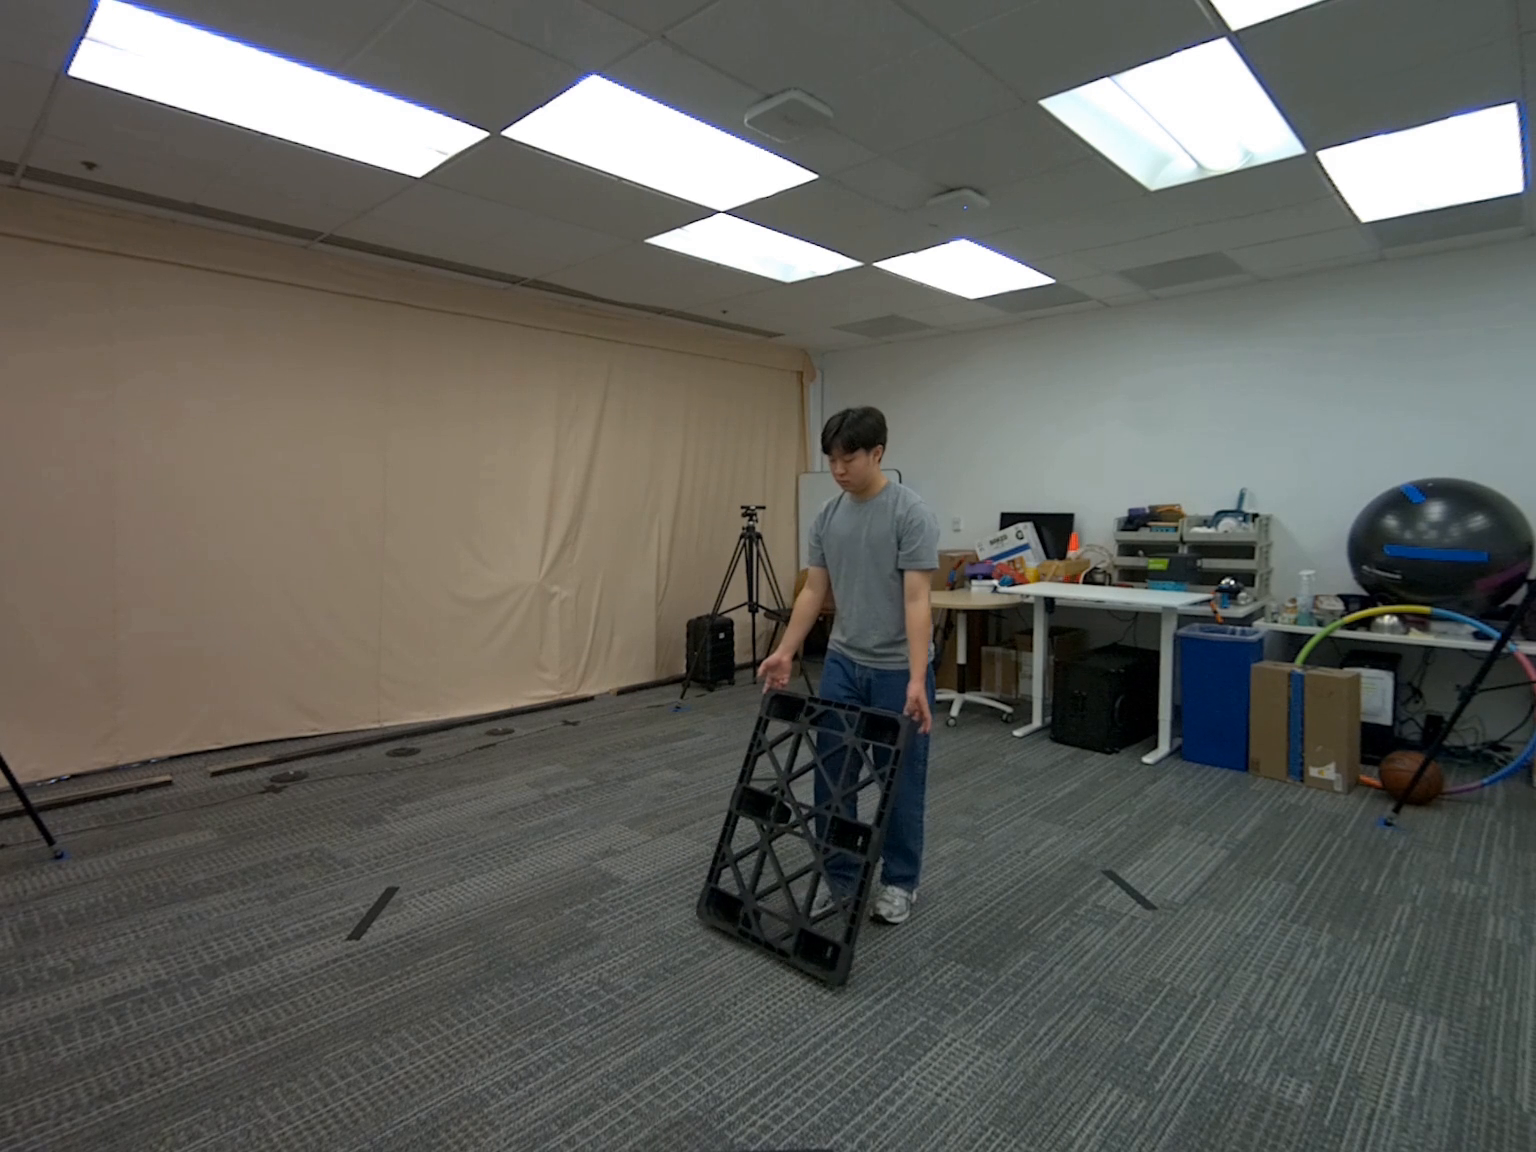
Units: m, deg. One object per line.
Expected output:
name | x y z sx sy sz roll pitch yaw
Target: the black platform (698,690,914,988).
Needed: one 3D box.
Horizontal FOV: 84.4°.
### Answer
black platform | 0.123 0.808 2.735 0.625 0.808 0.138 4 -21 44
